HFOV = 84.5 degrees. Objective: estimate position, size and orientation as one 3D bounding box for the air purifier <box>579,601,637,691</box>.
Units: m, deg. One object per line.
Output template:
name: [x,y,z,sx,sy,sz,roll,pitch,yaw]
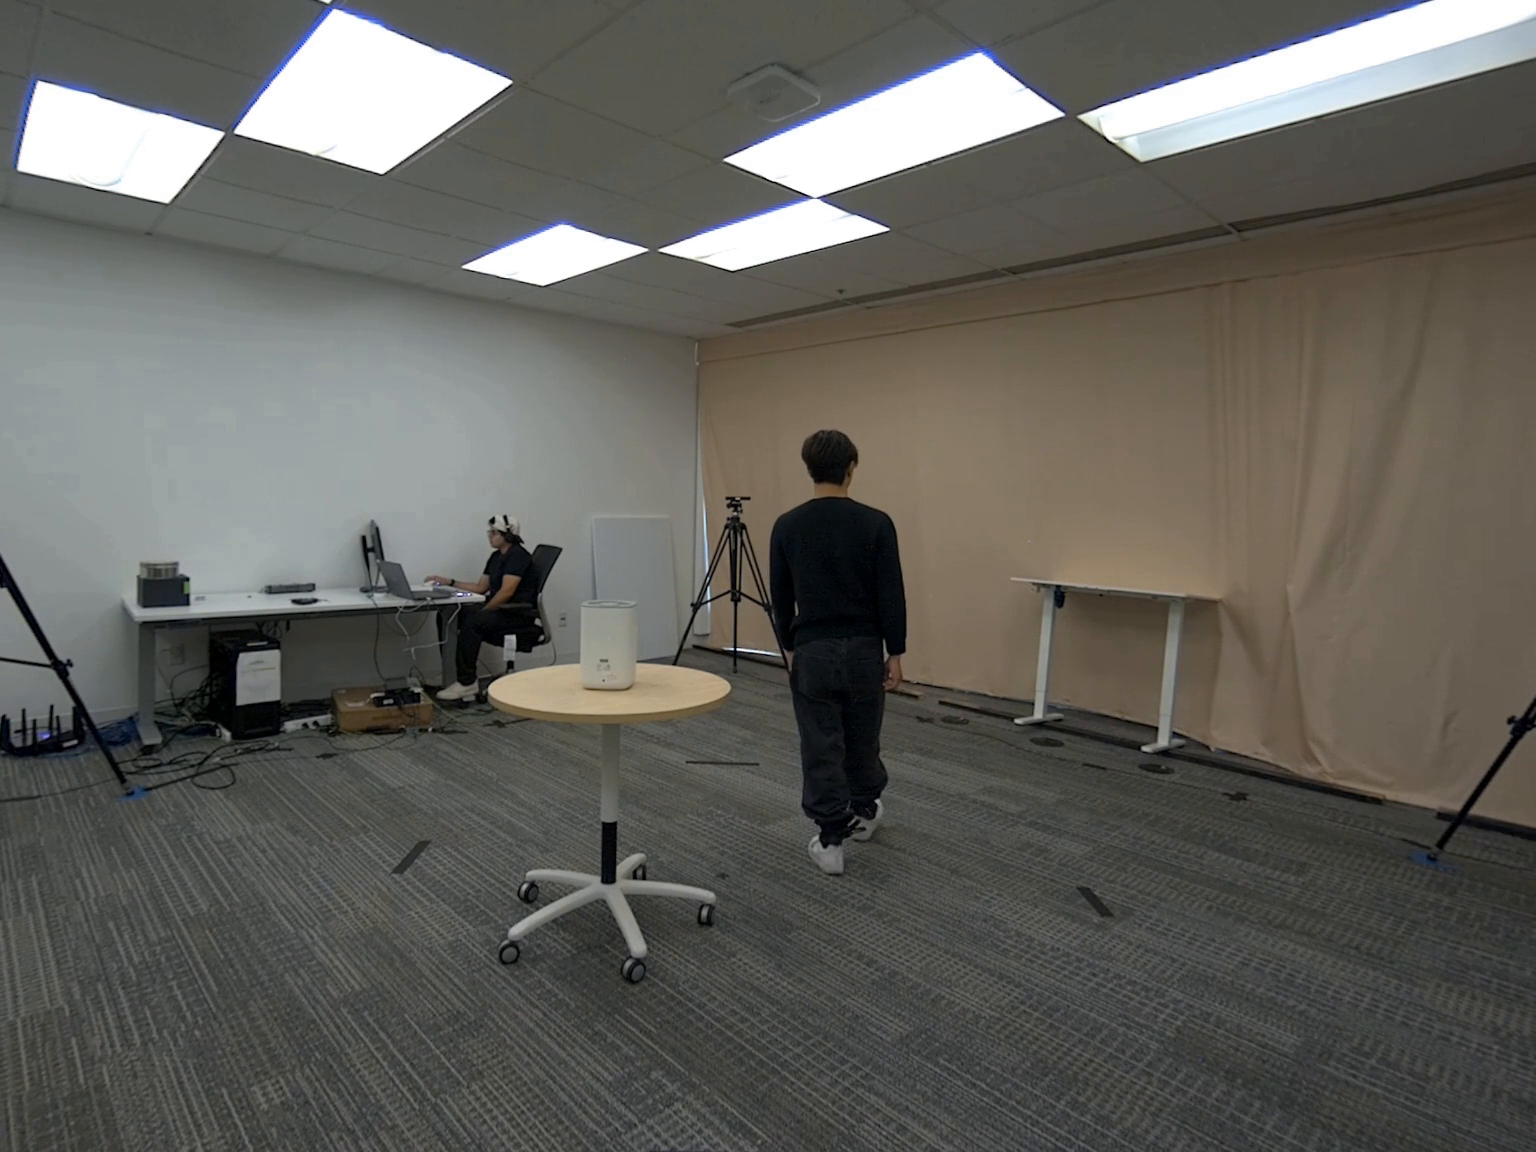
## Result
air purifier: [-0.527,0.220,2.674,0.171,0.265,0.172,2,3,1]
